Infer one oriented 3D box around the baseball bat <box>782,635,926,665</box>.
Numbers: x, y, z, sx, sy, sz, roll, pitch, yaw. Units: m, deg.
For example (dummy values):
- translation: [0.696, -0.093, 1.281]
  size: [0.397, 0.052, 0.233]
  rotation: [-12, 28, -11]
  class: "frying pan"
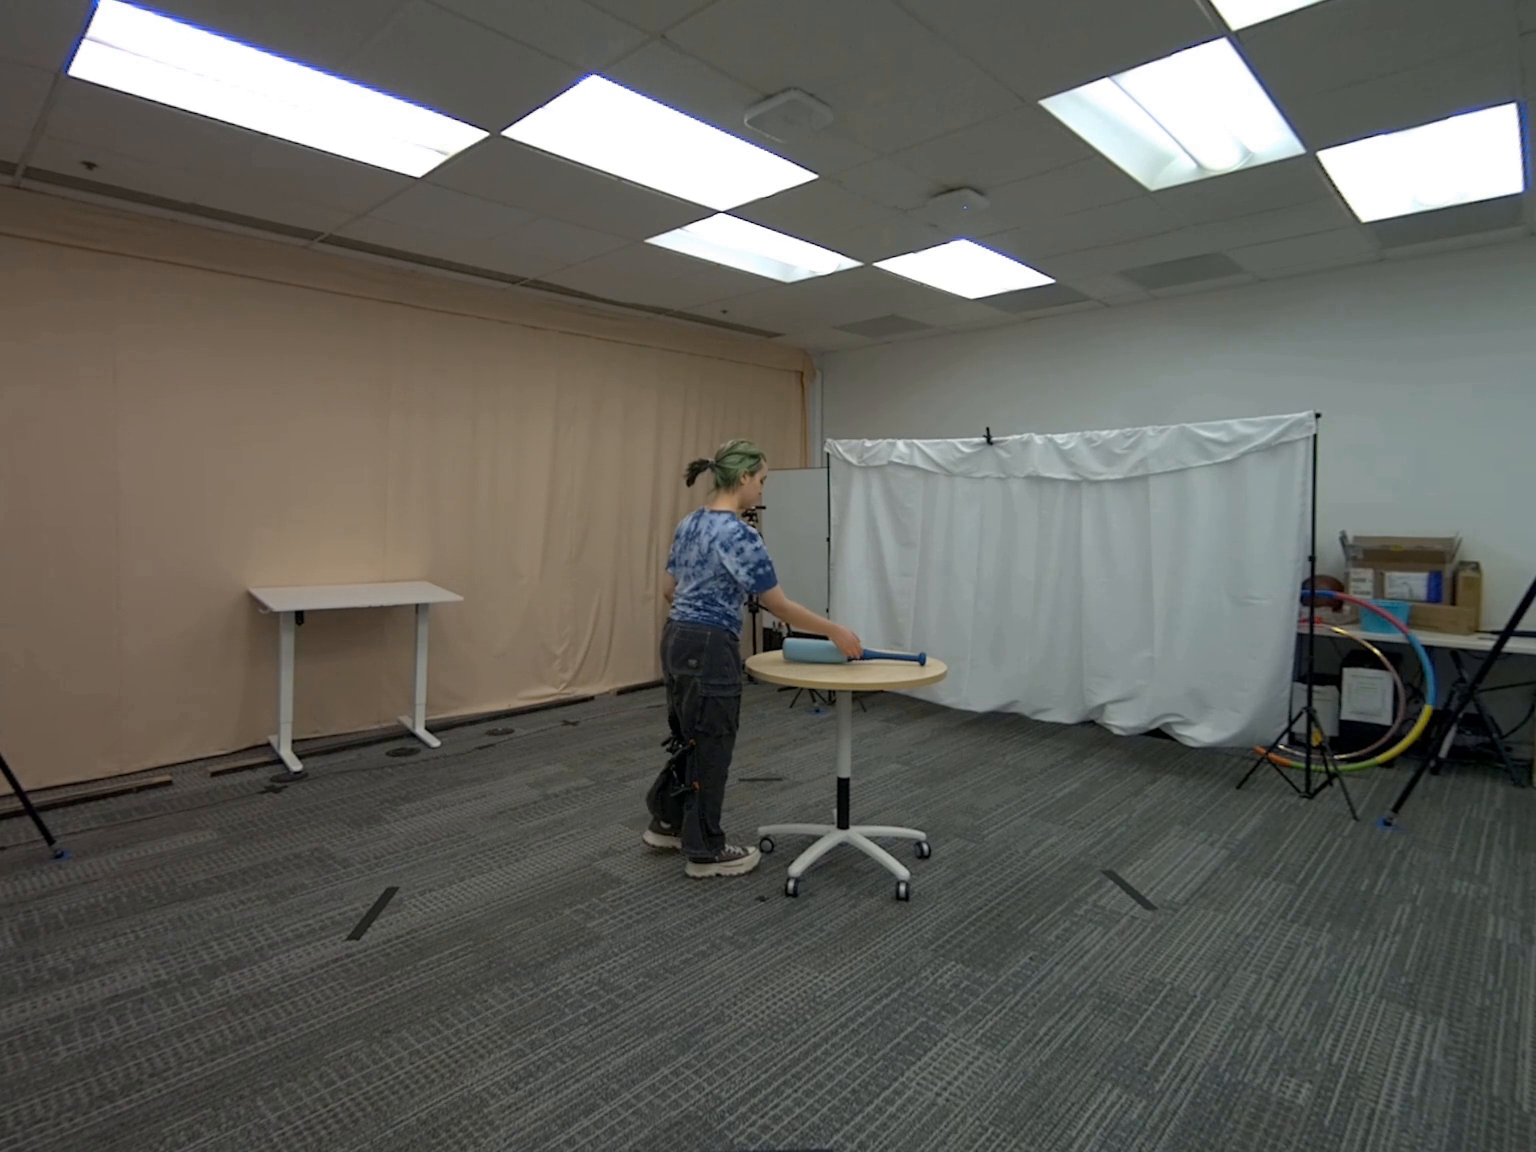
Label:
- translation: [0.336, 0.302, 3.230]
  size: [0.547, 0.089, 0.088]
  rotation: [4, 4, 7]
  class: "baseball bat"
